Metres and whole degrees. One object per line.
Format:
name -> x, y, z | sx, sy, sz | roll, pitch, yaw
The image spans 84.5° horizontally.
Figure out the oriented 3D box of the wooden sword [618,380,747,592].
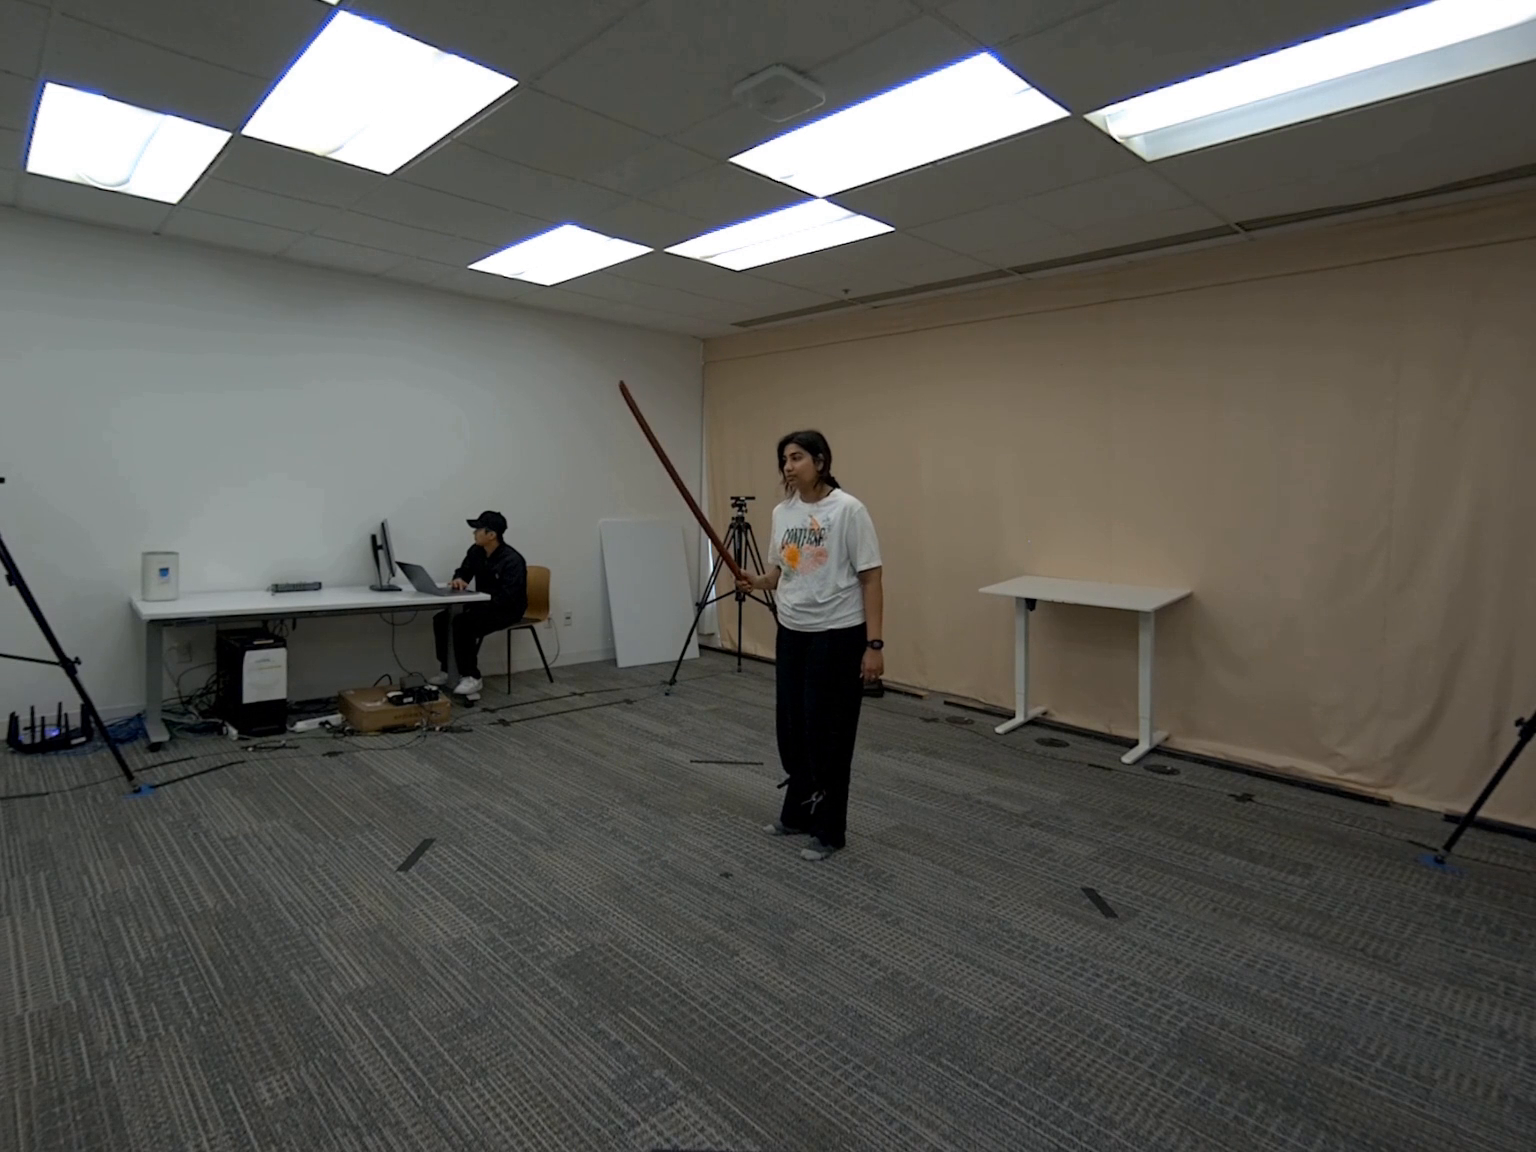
wooden sword -> -0.311, -0.308, 3.120 | 0.024, 0.996, 0.052 | -20, 34, 16
